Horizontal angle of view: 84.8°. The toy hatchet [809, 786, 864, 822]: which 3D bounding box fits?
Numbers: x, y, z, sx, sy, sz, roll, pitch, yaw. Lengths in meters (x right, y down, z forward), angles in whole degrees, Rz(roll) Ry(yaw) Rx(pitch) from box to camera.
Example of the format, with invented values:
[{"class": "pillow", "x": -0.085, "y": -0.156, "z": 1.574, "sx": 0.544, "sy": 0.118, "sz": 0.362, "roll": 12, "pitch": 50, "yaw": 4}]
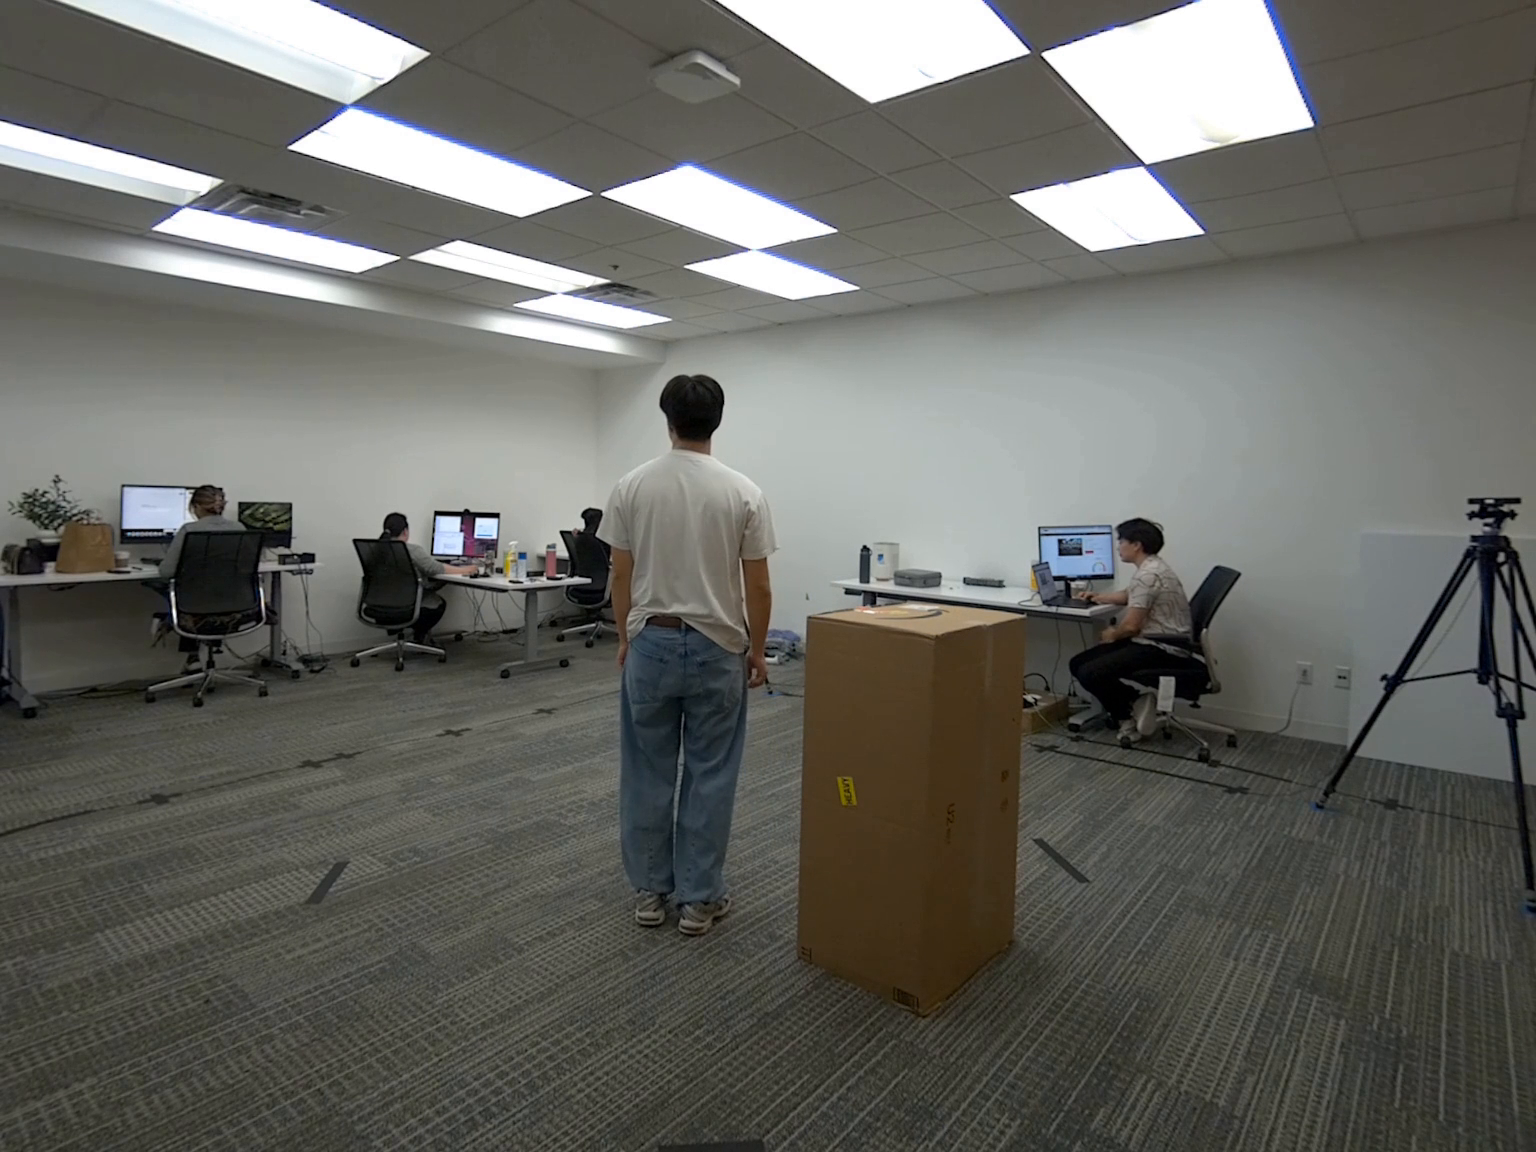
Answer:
[{"class": "toy hatchet", "x": 0.303, "y": 0.997, "z": 3.696, "sx": 0.135, "sy": 0.029, "sz": 0.263, "roll": 6, "pitch": 10, "yaw": 30}]
